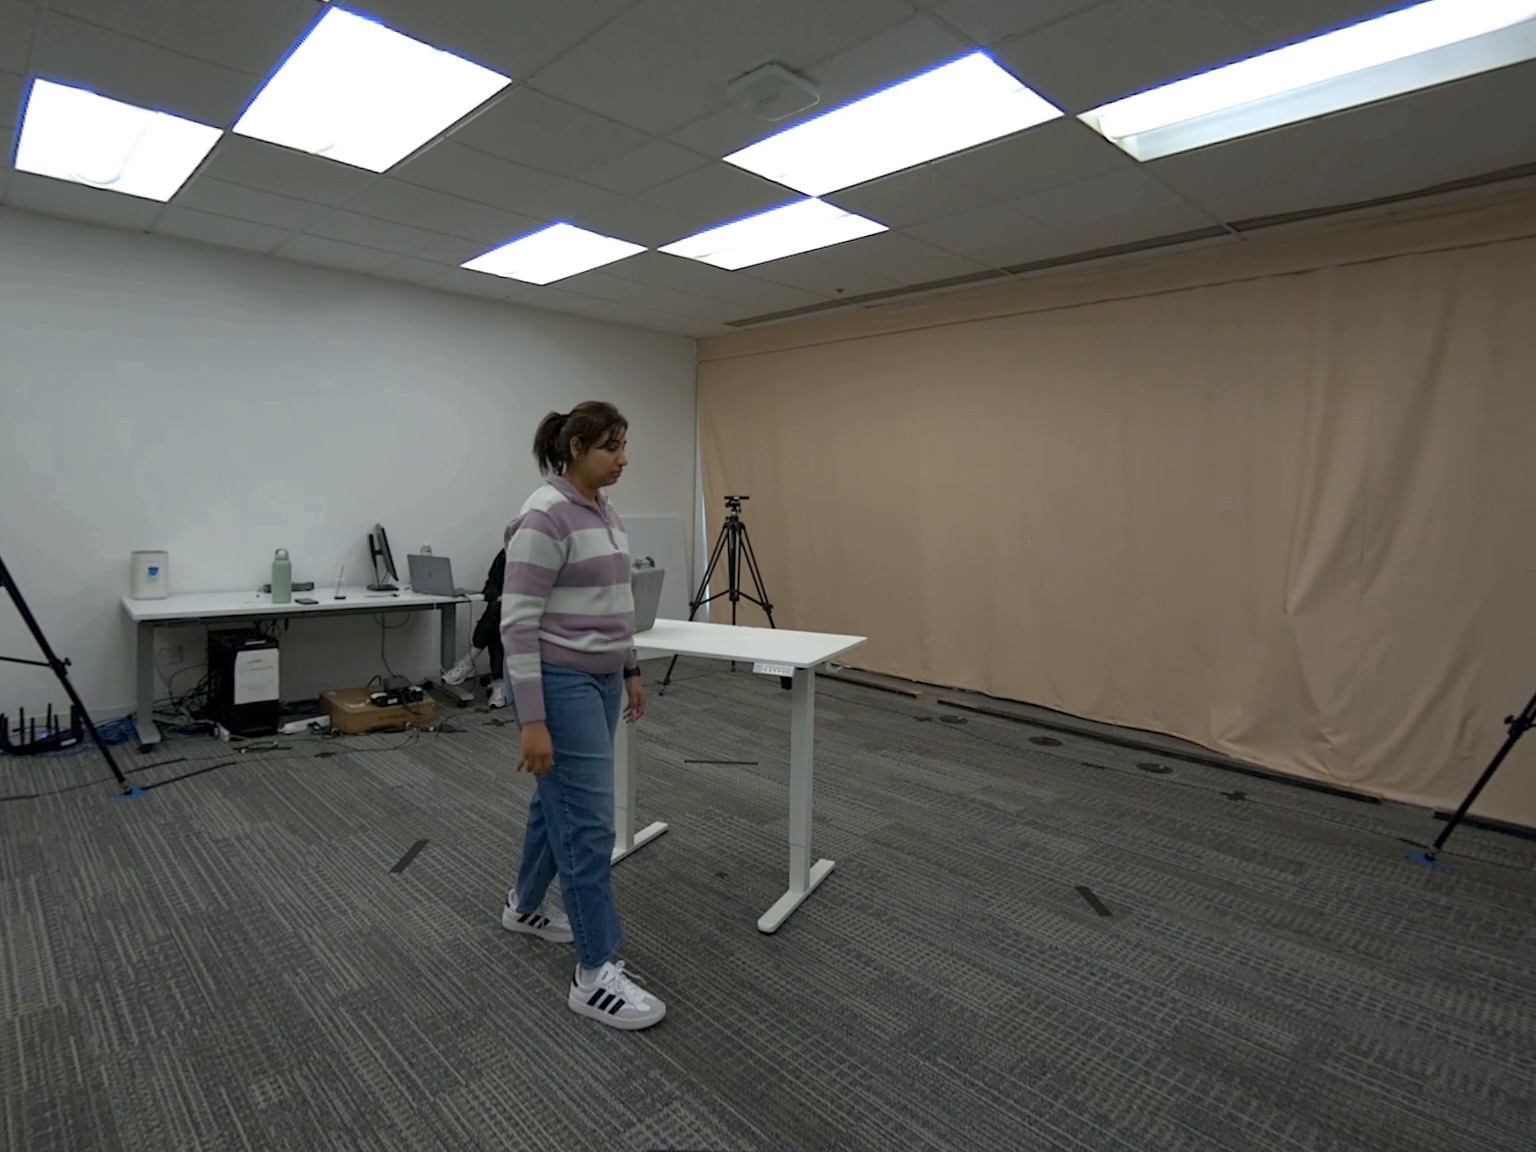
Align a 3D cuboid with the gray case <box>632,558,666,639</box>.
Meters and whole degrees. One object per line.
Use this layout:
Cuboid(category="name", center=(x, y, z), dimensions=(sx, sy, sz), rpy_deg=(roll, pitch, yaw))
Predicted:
Cuboid(category="gray case", center=(-0.504, 0.083, 3.142), dimensions=(0.106, 0.259, 0.254), rpy_deg=(13, 9, 17))
